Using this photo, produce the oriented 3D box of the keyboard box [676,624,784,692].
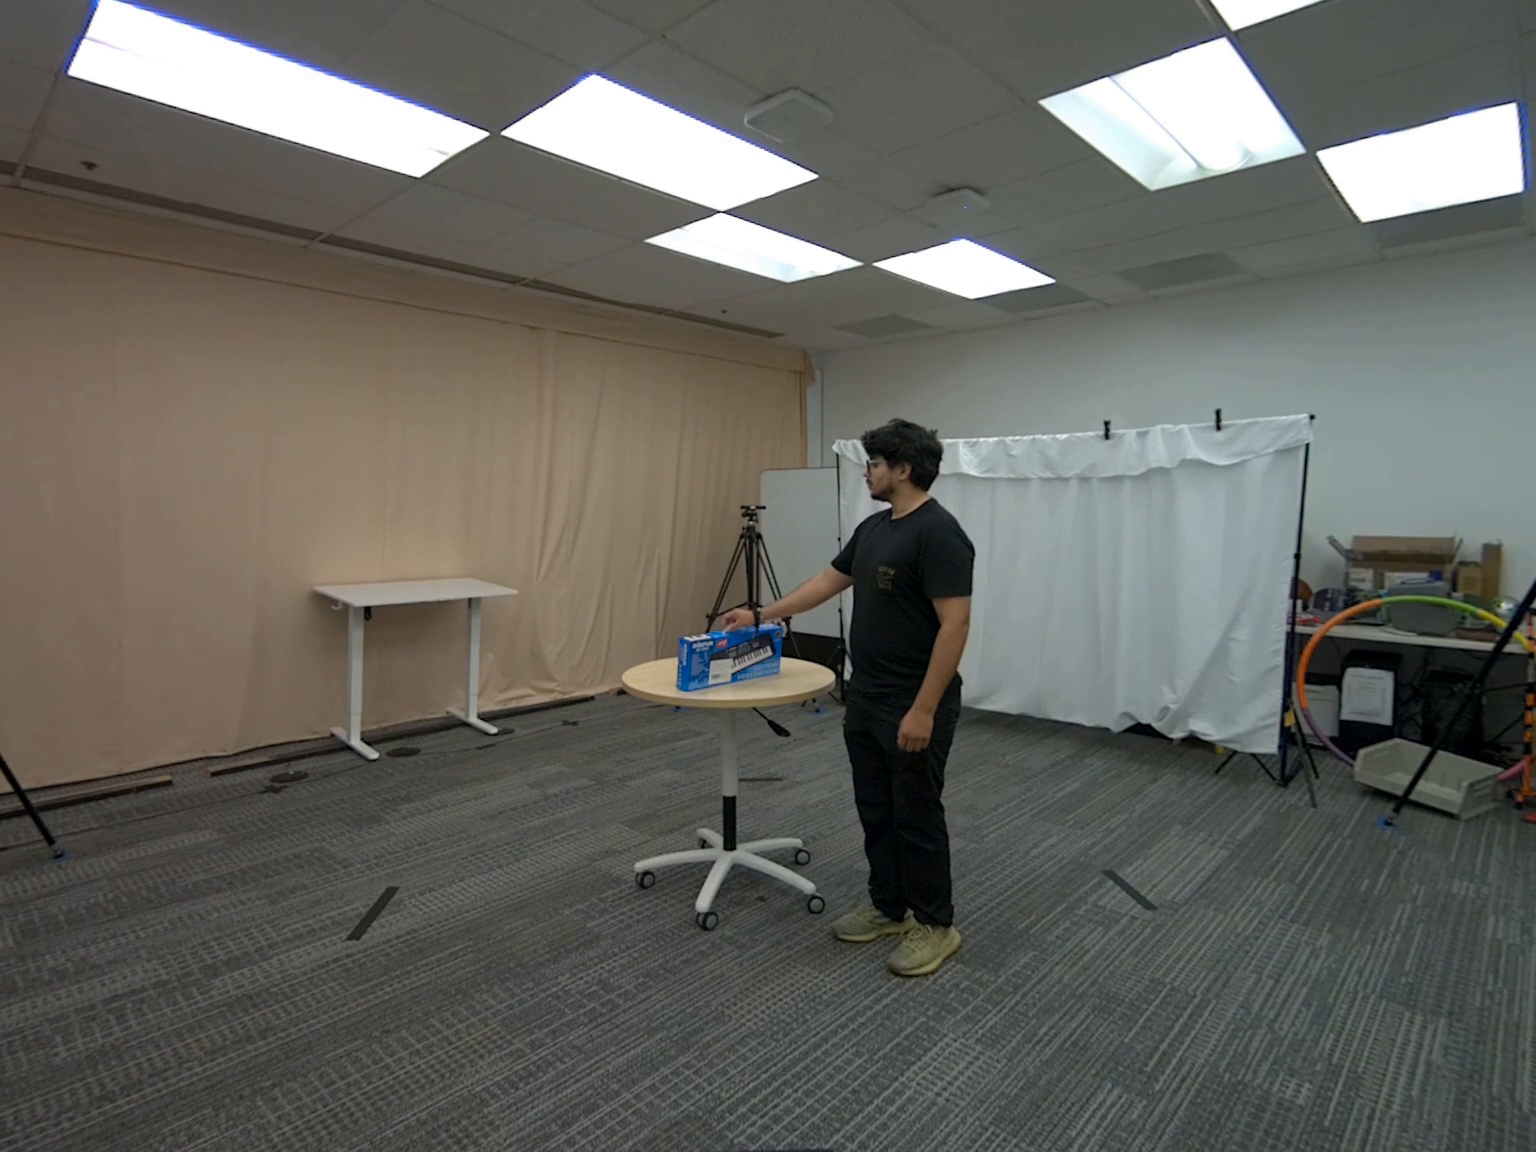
[{"bbox_3d":[-0.126,0.282,2.918,0.424,0.175,0.061,-5,11,-43],"label":"keyboard box"}]
